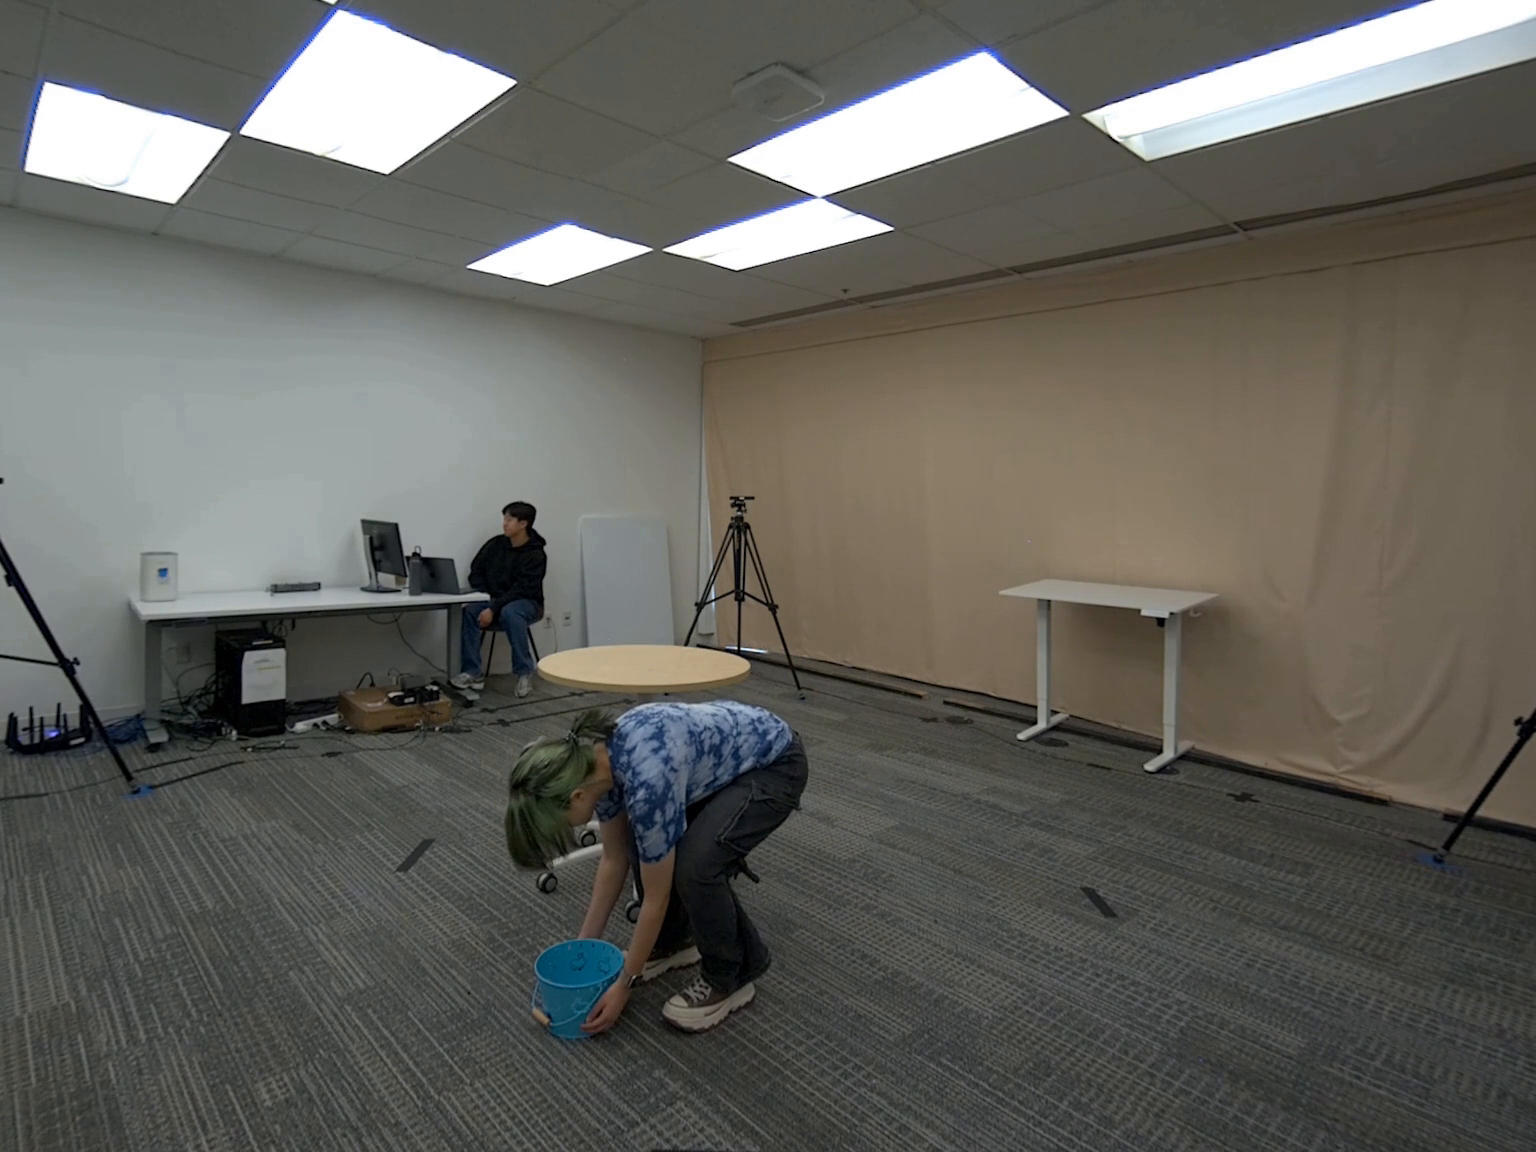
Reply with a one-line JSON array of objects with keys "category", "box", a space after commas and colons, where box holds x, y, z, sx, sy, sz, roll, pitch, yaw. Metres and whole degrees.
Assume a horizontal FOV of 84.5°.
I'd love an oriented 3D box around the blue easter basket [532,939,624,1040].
[{"category": "blue easter basket", "box": [-0.507, 1.097, 2.239, 0.243, 0.155, 0.244, 1, 5, -1]}]
